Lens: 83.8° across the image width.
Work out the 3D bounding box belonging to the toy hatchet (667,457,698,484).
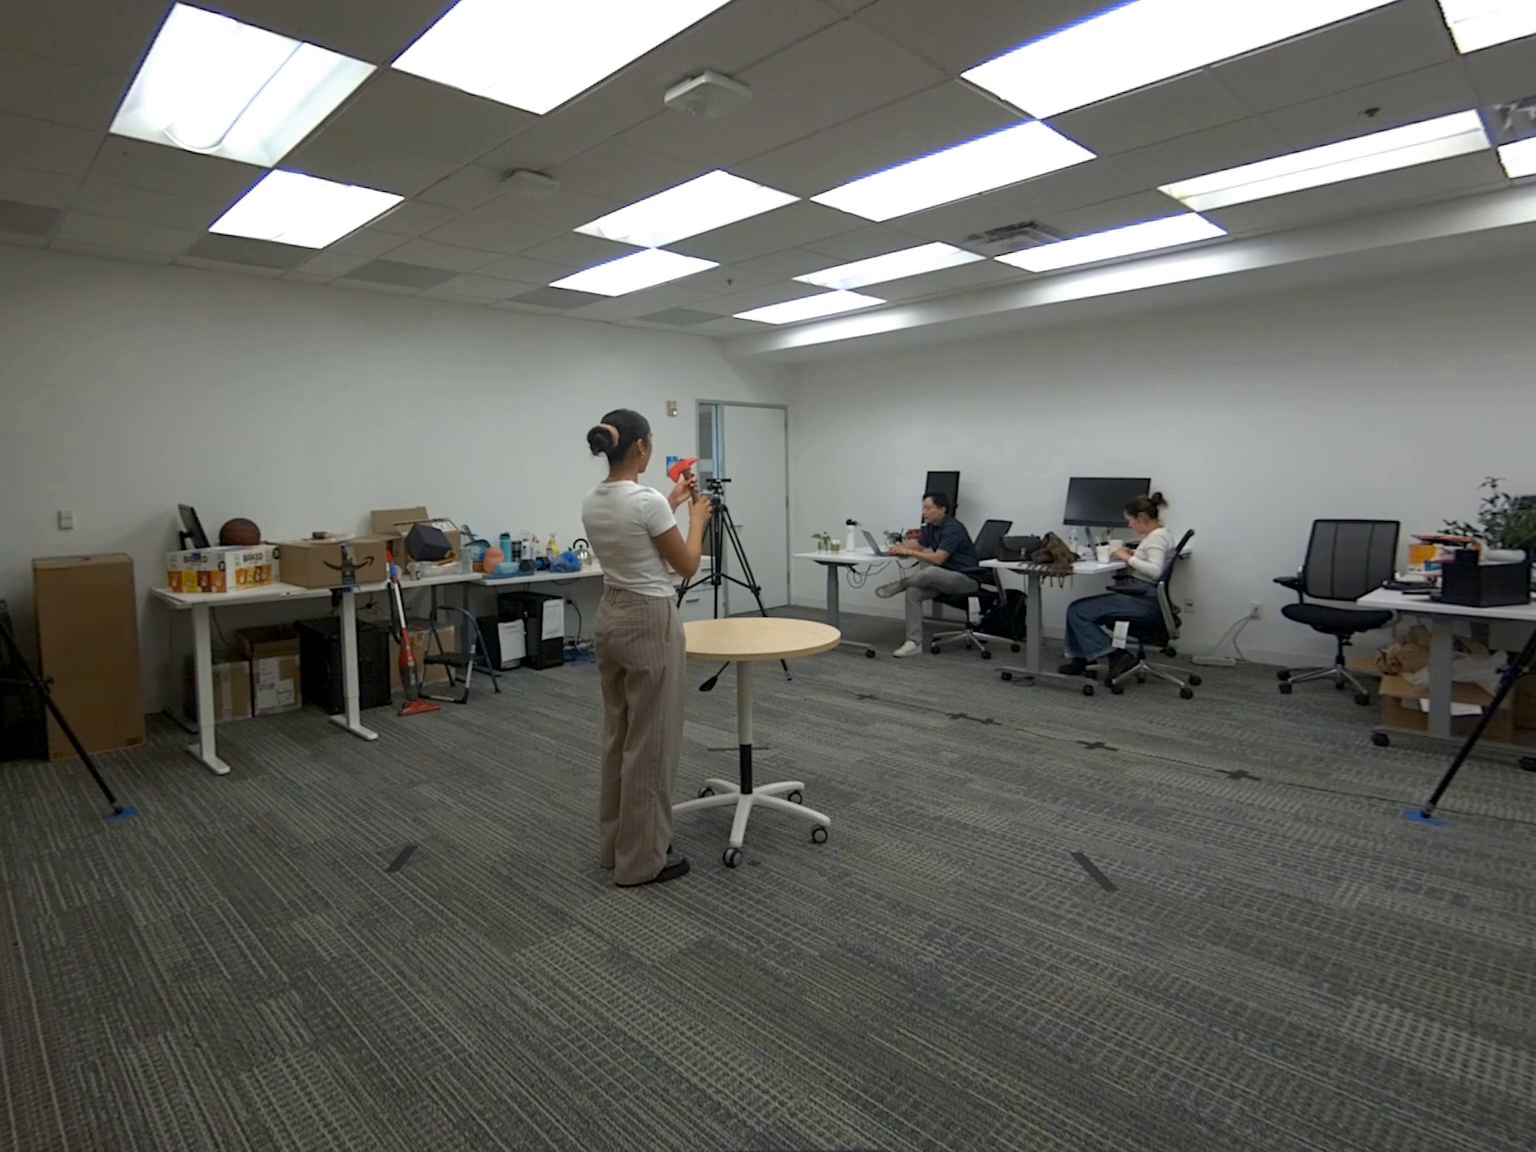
[{"bbox_3d":[-0.329,-0.324,3.278,0.133,0.274,0.029,-5,-16,15],"label":"toy hatchet"}]
